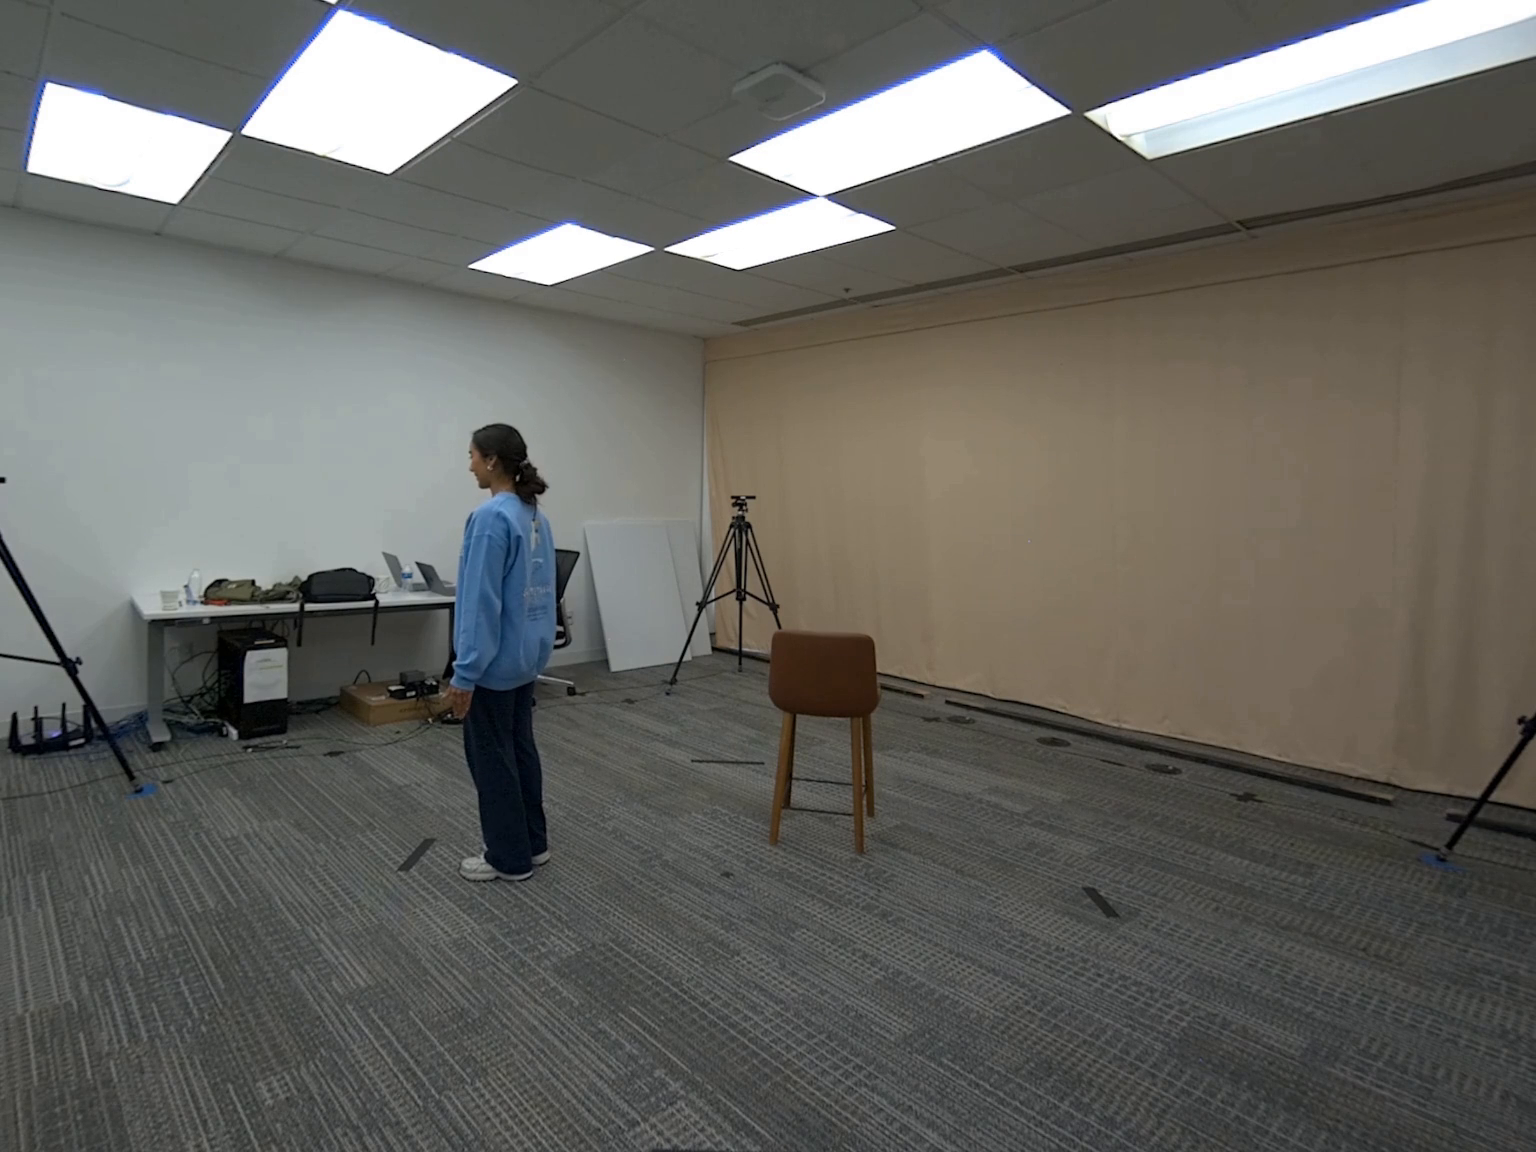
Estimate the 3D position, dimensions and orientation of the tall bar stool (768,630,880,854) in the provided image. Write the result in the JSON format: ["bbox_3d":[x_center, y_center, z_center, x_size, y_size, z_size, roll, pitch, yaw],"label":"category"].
[{"bbox_3d":[0.235,0.640,3.543,0.461,0.887,0.464,2,4,13],"label":"tall bar stool"}]
